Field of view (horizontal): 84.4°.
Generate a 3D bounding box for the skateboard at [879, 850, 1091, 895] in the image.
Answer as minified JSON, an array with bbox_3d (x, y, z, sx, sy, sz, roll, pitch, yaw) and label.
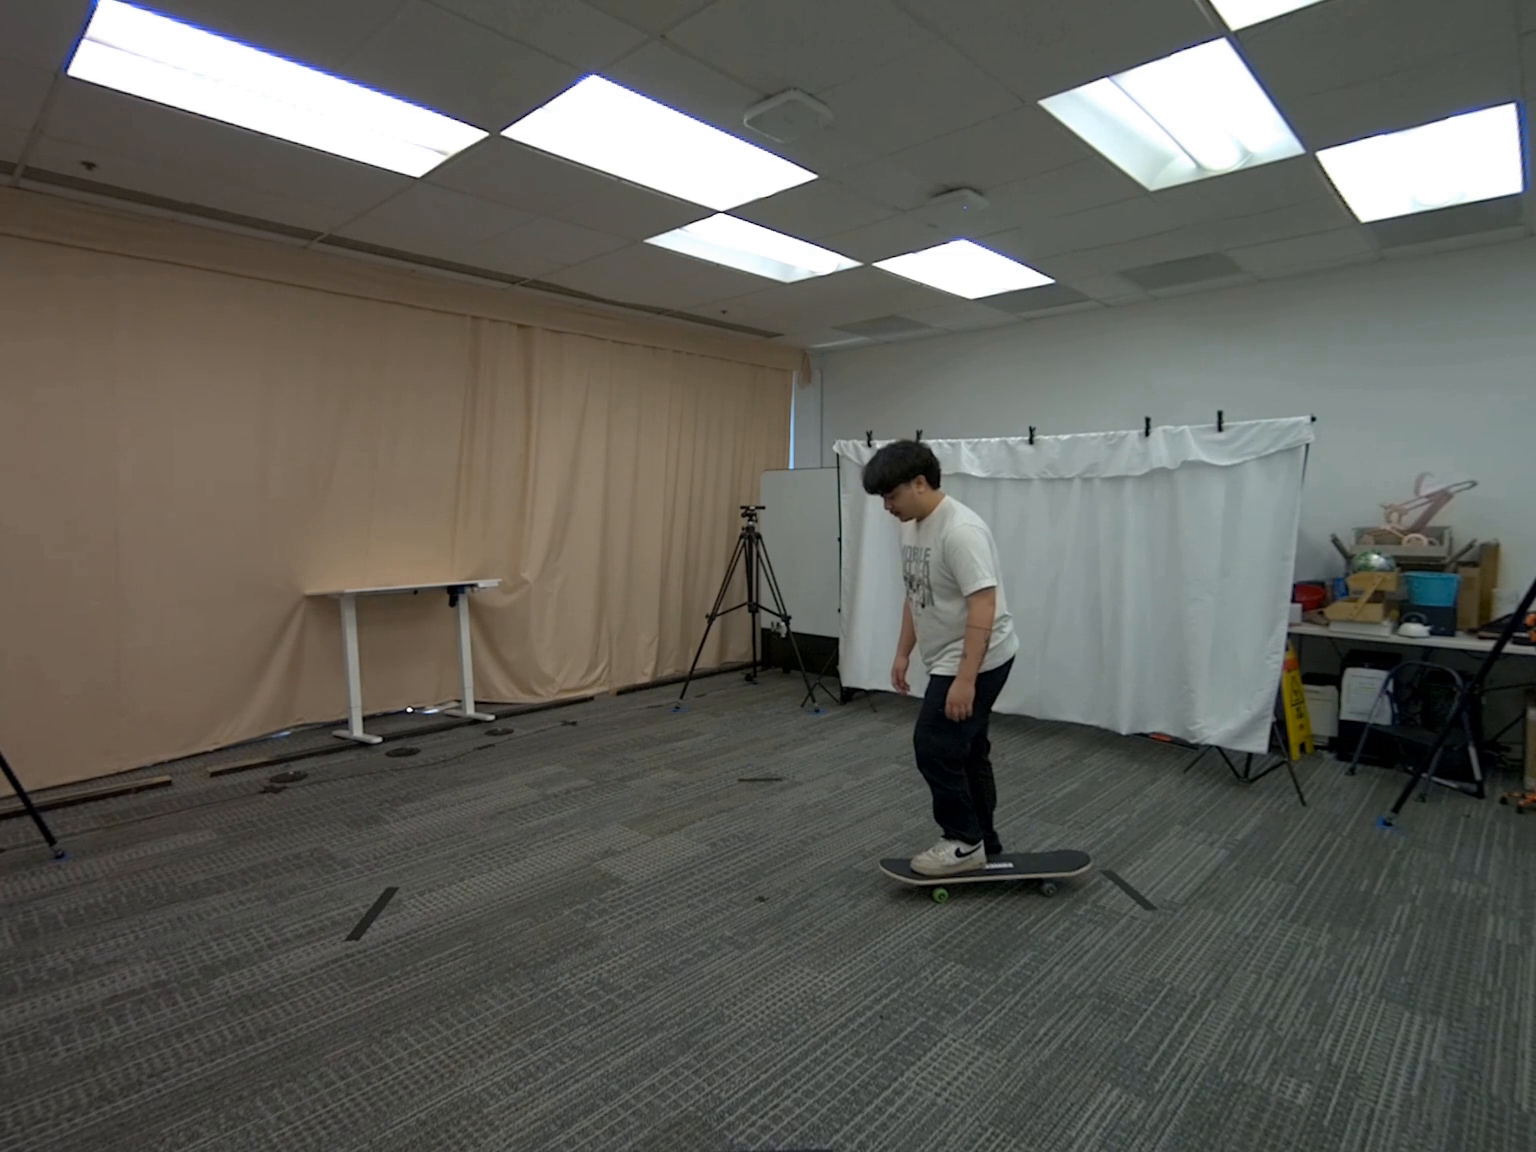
[{"bbox_3d":[0.792,1.080,3.052,0.780,0.110,0.195,-1,3,-7],"label":"skateboard"}]
